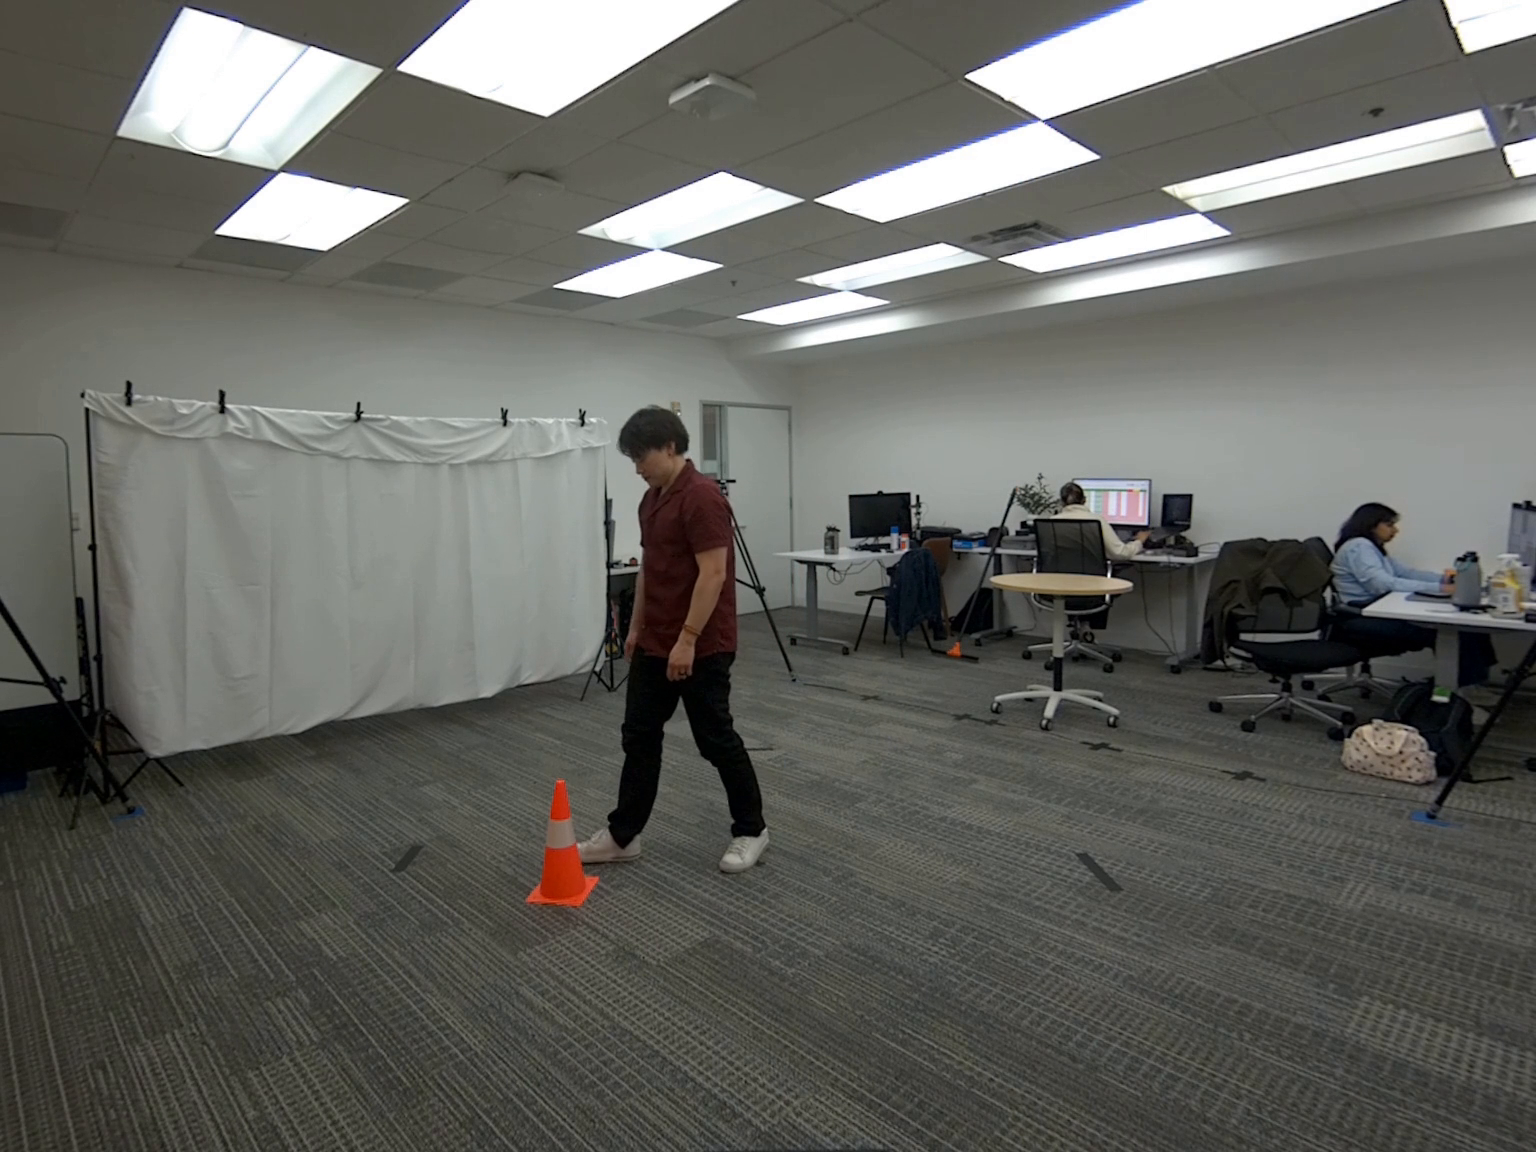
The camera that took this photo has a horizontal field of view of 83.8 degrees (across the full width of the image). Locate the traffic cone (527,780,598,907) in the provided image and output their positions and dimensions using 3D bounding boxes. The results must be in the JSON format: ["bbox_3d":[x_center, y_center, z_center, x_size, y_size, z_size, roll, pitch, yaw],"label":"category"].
[{"bbox_3d":[-0.712,0.897,2.923,0.206,0.382,0.203,0,5,14],"label":"traffic cone"}]
